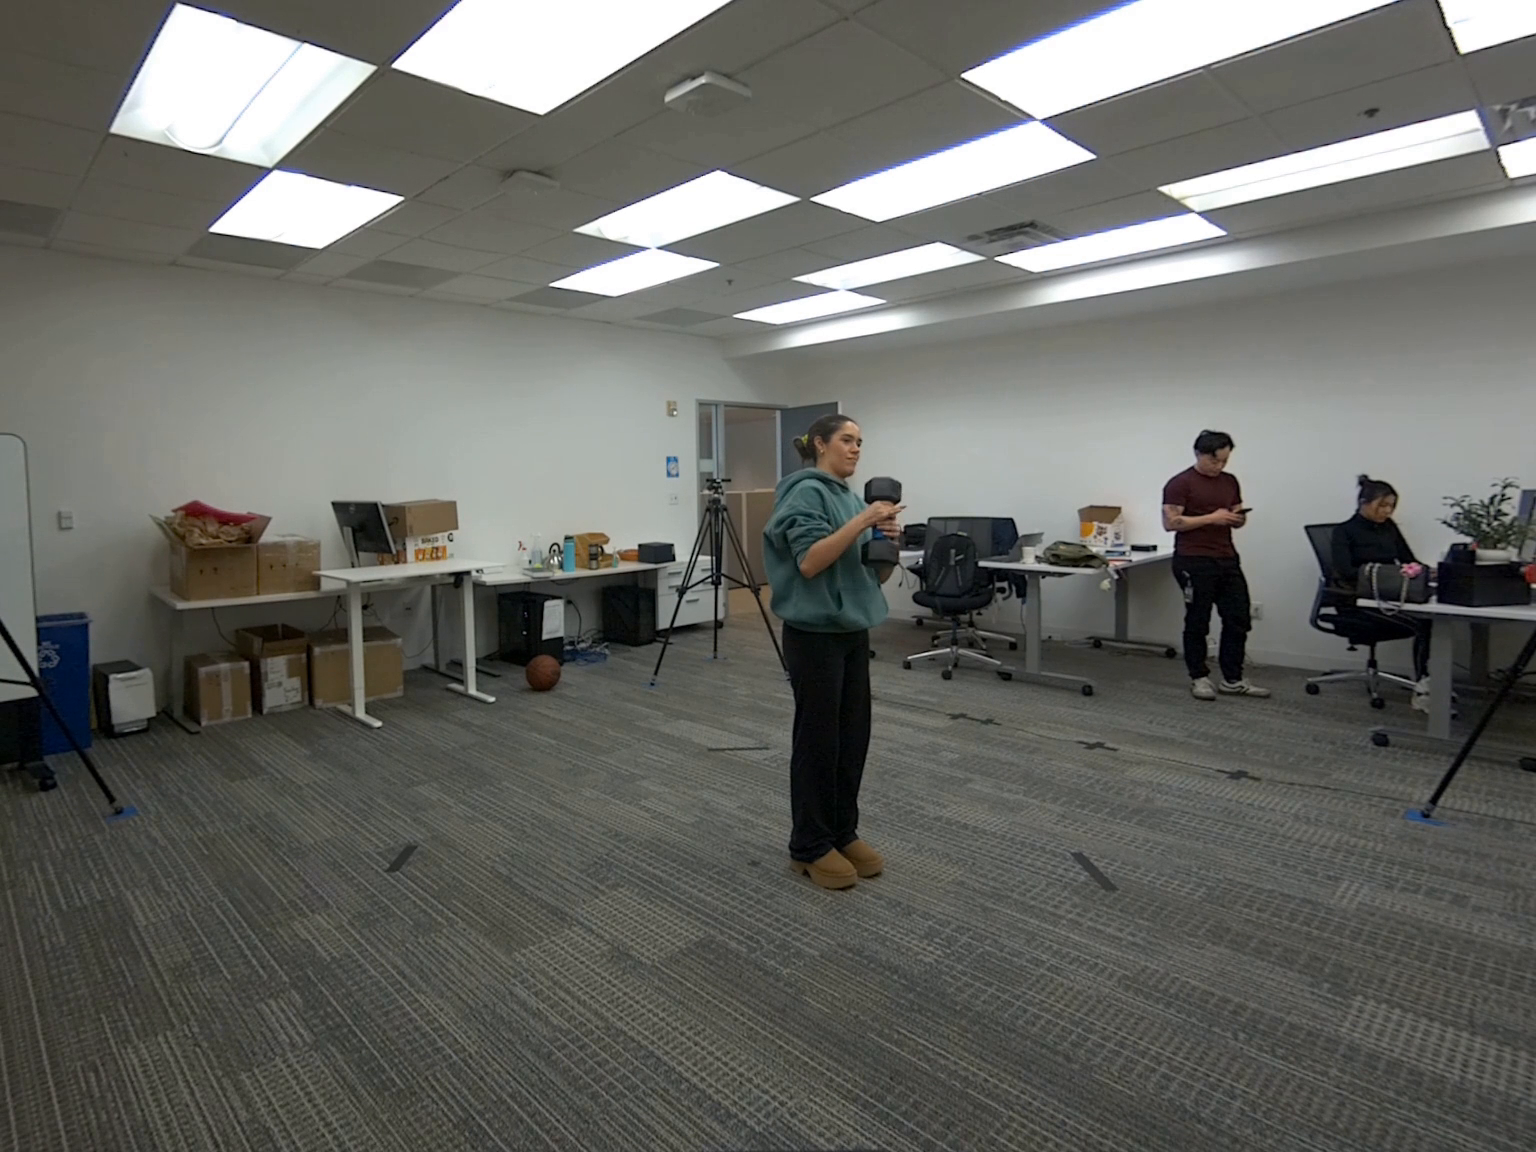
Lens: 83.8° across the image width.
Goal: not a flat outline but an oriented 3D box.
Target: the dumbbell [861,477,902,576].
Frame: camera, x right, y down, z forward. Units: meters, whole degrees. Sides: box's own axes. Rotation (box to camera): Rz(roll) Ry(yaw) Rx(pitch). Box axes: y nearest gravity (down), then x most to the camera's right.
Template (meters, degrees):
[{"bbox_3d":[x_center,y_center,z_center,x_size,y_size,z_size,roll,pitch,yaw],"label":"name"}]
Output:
[{"bbox_3d":[0.357,-0.175,2.798,0.124,0.297,0.106,4,-15,7],"label":"dumbbell"}]
